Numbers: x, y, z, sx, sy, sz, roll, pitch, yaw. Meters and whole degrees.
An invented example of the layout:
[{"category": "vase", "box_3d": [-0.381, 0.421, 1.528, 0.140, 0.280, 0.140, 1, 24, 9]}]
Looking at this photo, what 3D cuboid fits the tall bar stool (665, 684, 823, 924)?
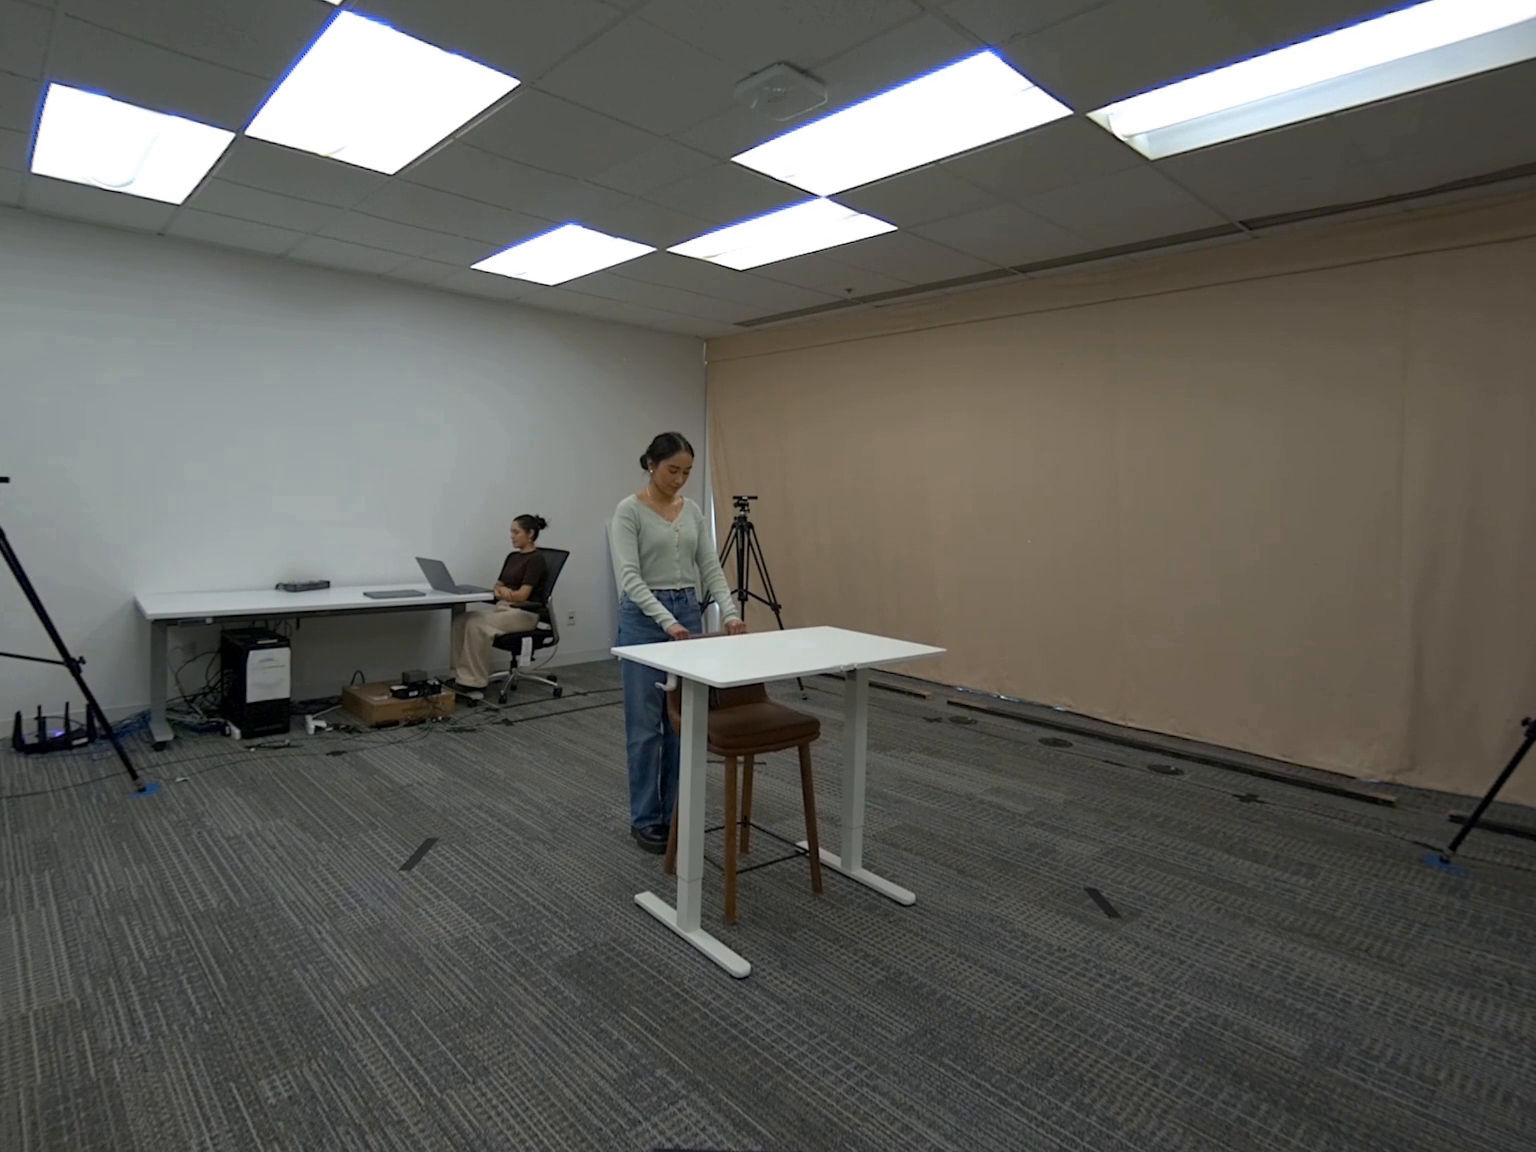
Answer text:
[{"category": "tall bar stool", "box_3d": [-0.105, 0.676, 3.022, 0.446, 0.889, 0.478, -2, 2, -36]}]
